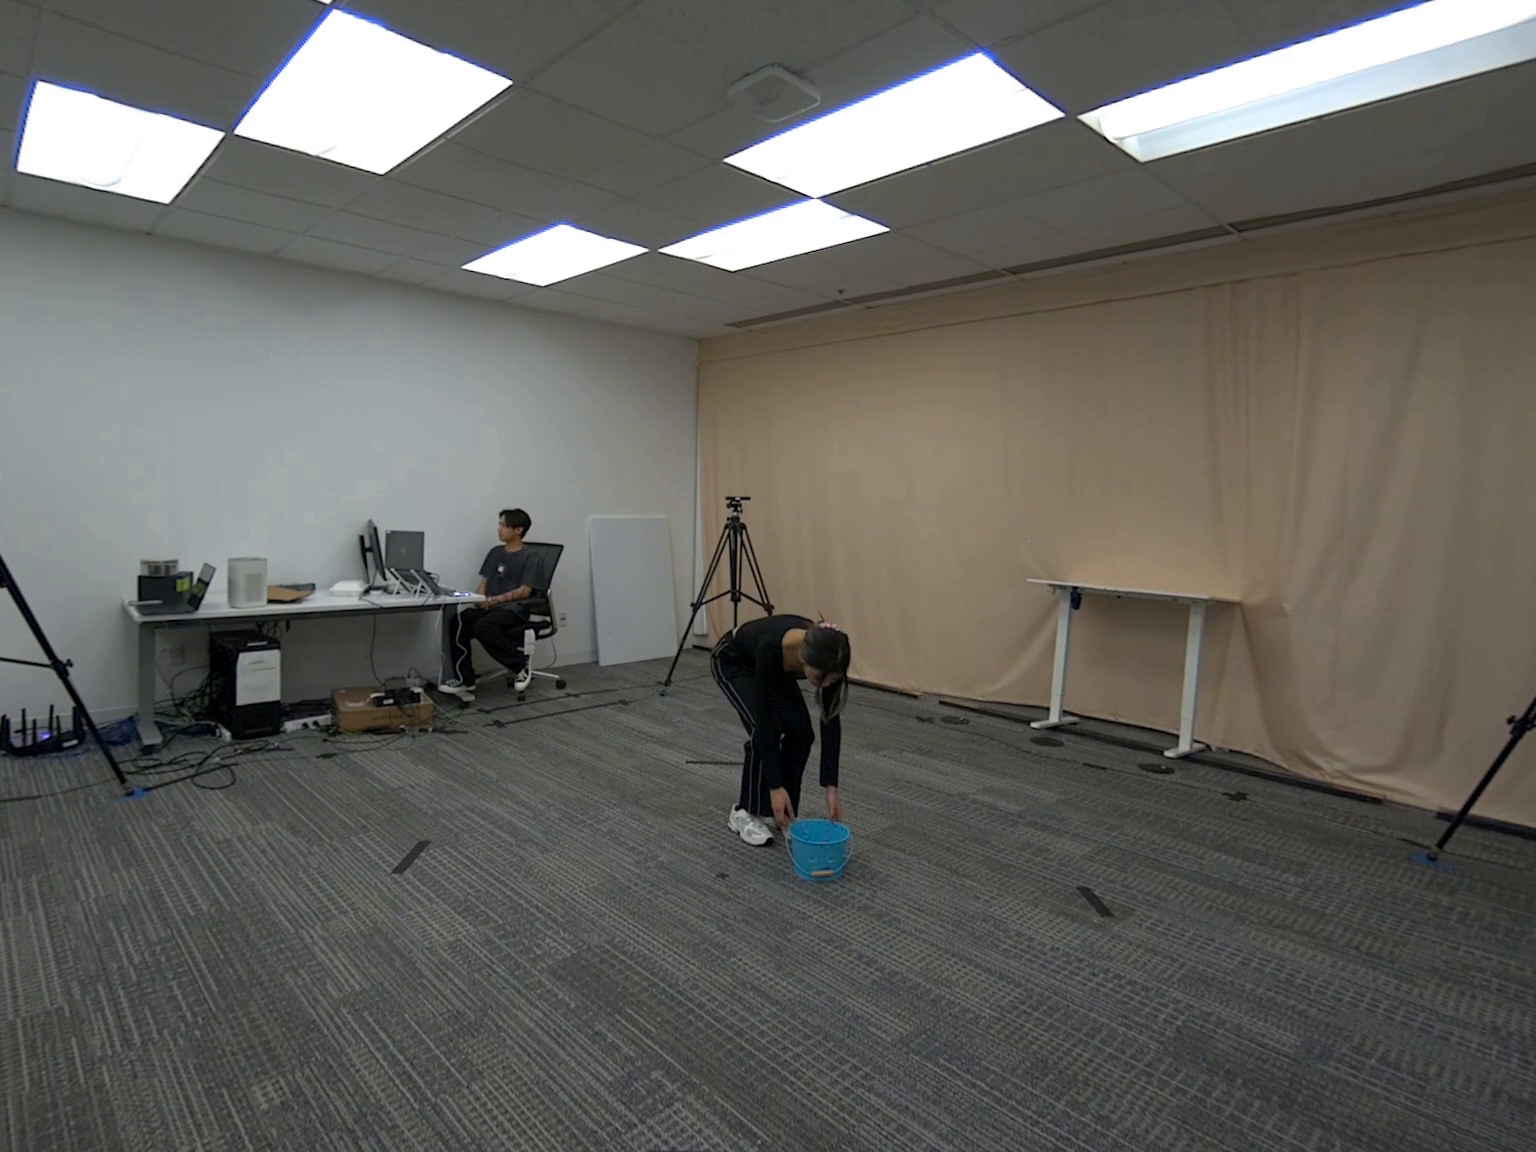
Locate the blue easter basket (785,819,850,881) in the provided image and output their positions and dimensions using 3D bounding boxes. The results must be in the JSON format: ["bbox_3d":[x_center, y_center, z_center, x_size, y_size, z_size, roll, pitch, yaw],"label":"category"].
[{"bbox_3d":[0.178,1.031,3.160,0.243,0.155,0.244,1,5,-1],"label":"blue easter basket"}]
